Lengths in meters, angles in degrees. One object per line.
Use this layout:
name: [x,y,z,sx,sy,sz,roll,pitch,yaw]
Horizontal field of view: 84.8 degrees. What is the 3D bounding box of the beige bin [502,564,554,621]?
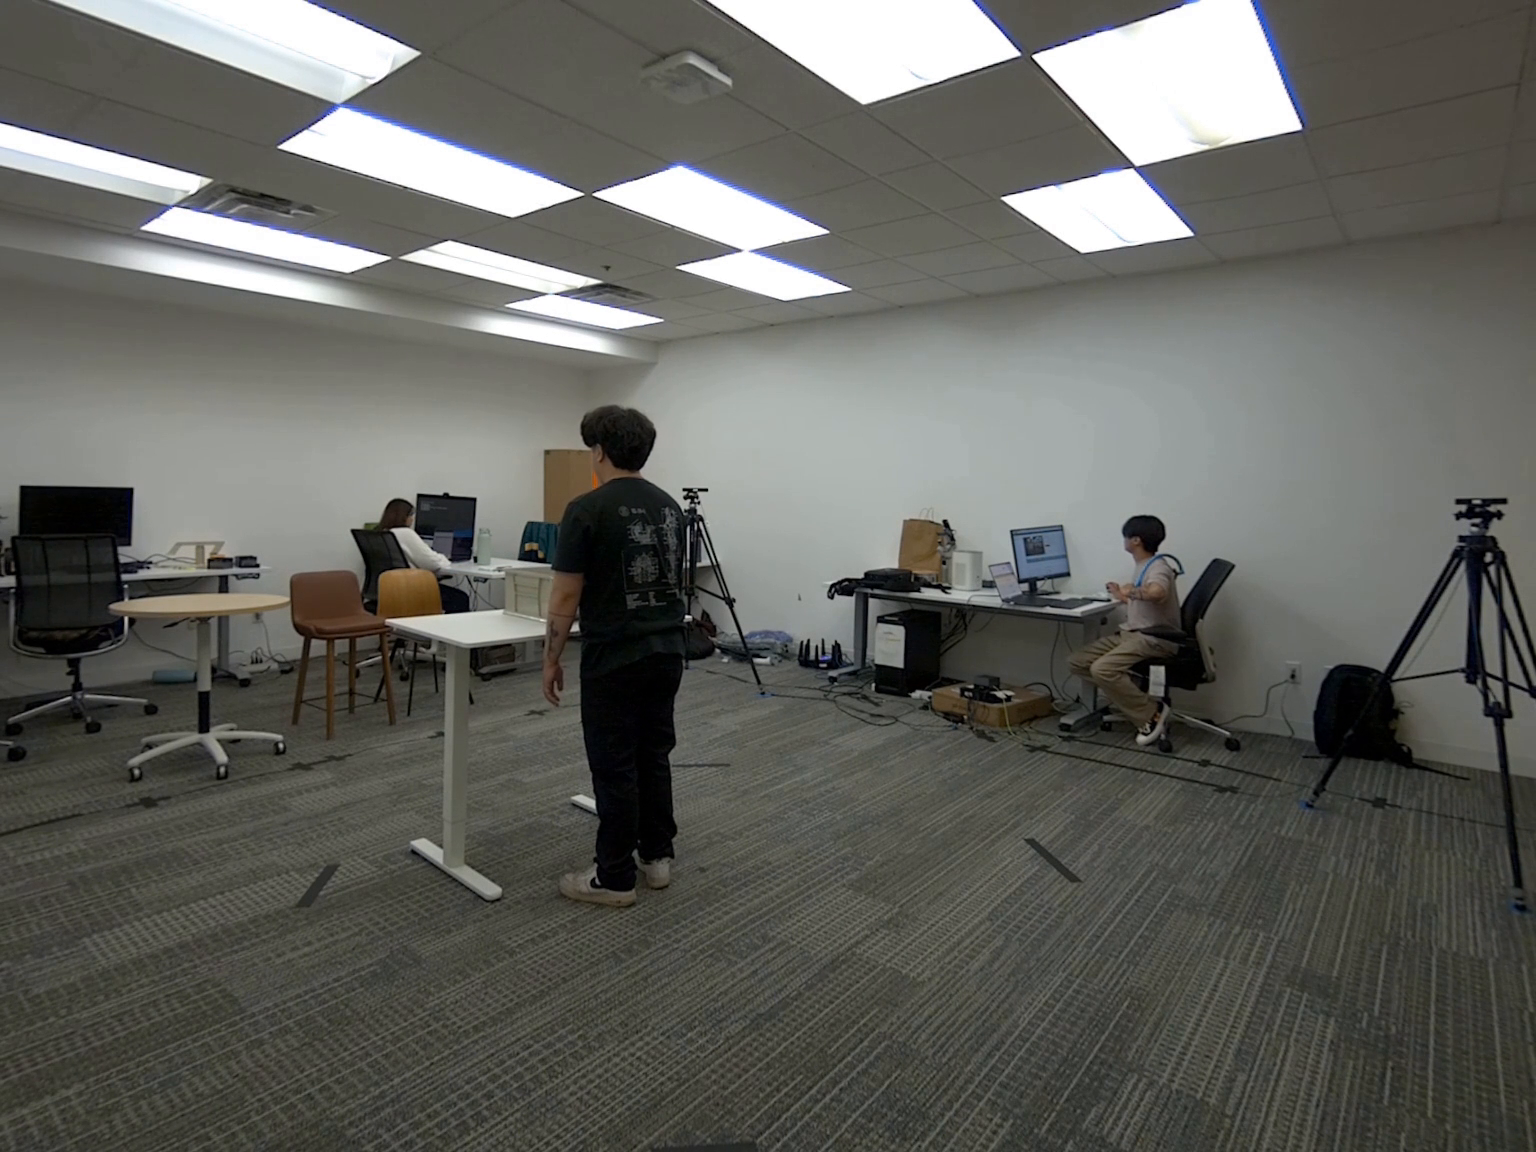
beige bin: [-0.789,0.064,3.384,0.390,0.188,0.410,5,7,43]
